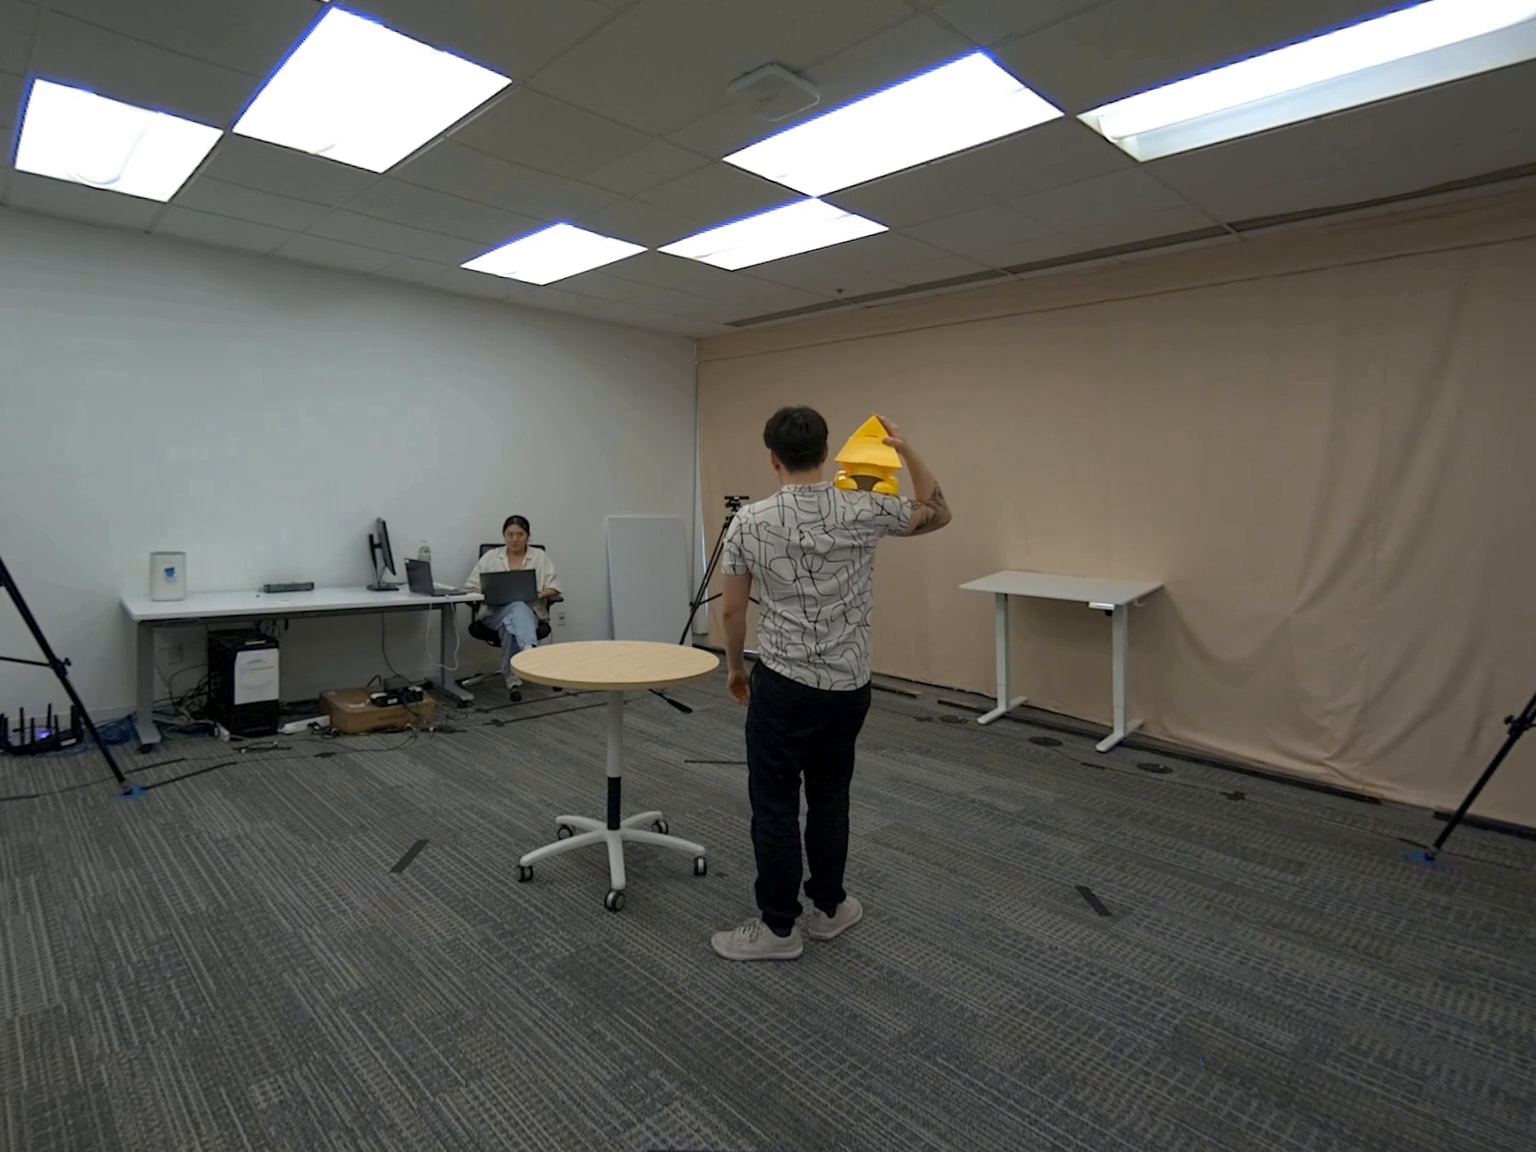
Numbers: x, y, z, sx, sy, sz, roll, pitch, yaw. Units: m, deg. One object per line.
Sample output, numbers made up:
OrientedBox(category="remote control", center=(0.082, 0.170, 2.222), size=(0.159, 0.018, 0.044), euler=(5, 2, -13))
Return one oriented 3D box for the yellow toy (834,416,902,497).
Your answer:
OrientedBox(category="yellow toy", center=(0.313, -0.378, 2.622), size=(0.206, 0.230, 0.192), euler=(7, 3, 9))
